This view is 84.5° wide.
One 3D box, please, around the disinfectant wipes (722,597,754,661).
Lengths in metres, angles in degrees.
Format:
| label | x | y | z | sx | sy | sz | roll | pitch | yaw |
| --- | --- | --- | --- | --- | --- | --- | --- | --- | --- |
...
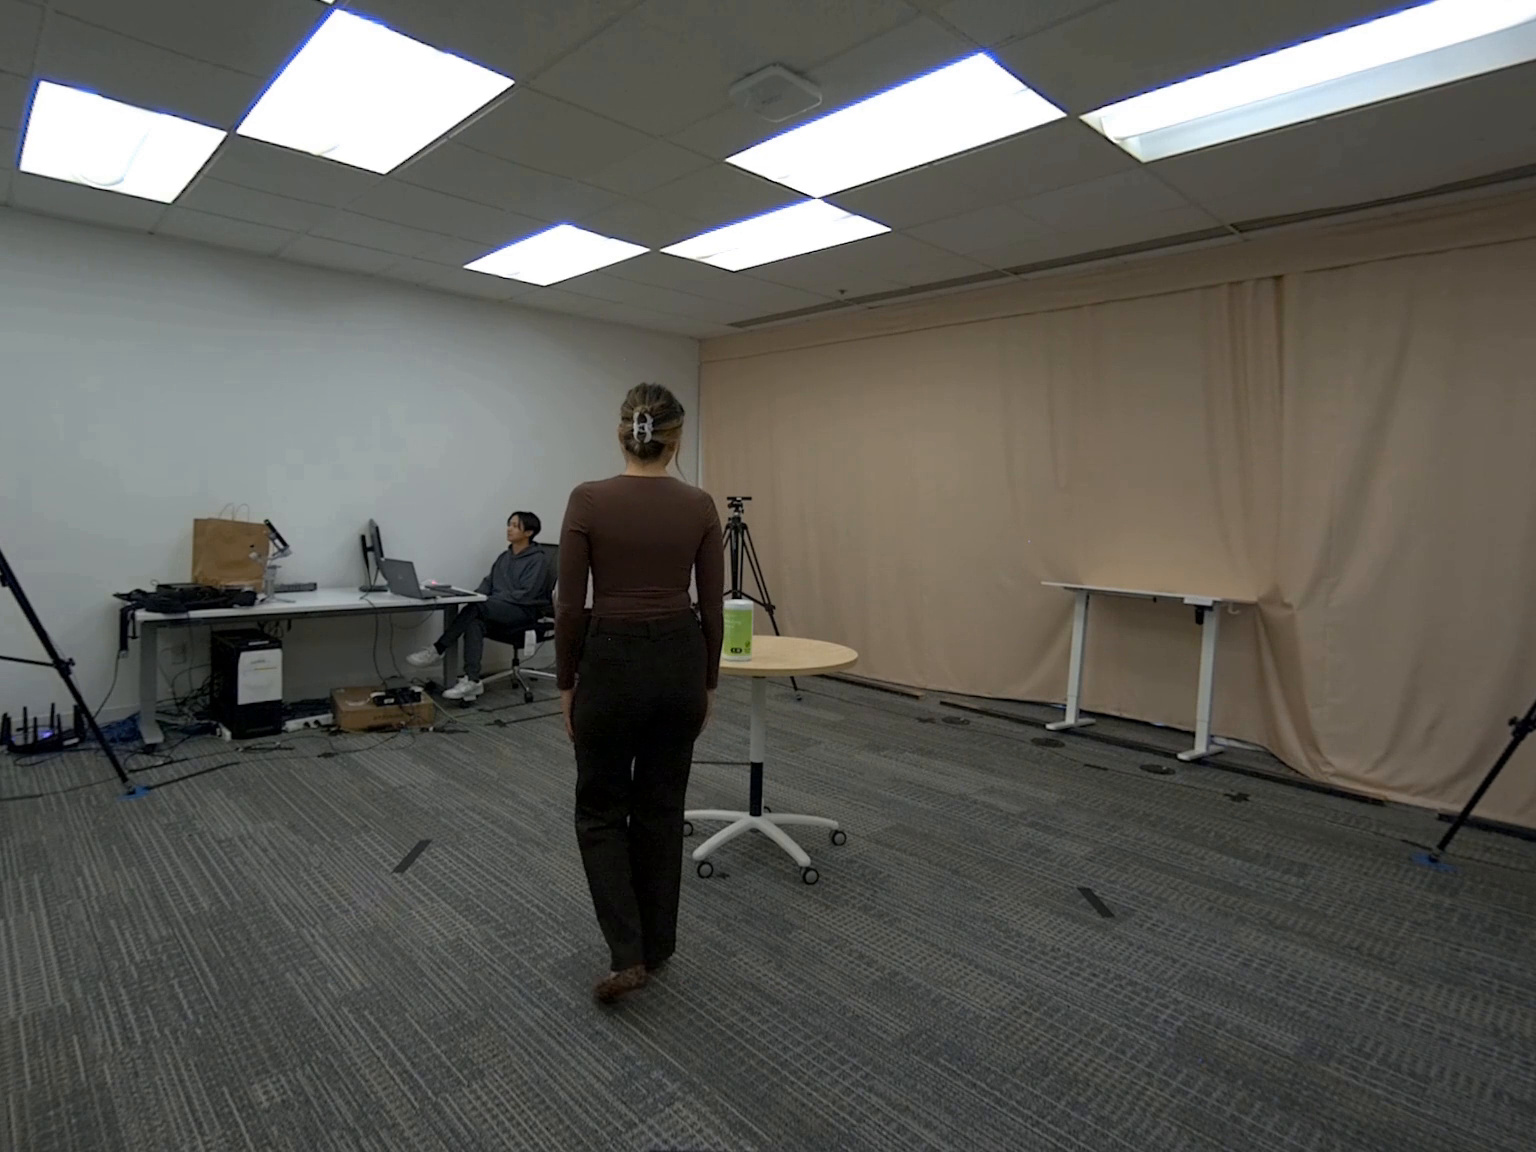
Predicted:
| label | x | y | z | sx | sy | sz | roll | pitch | yaw |
| --- | --- | --- | --- | --- | --- | --- | --- | --- | --- |
| disinfectant wipes | -0.110 | 0.201 | 3.105 | 0.118 | 0.217 | 0.118 | 1 | 4 | -1 |
